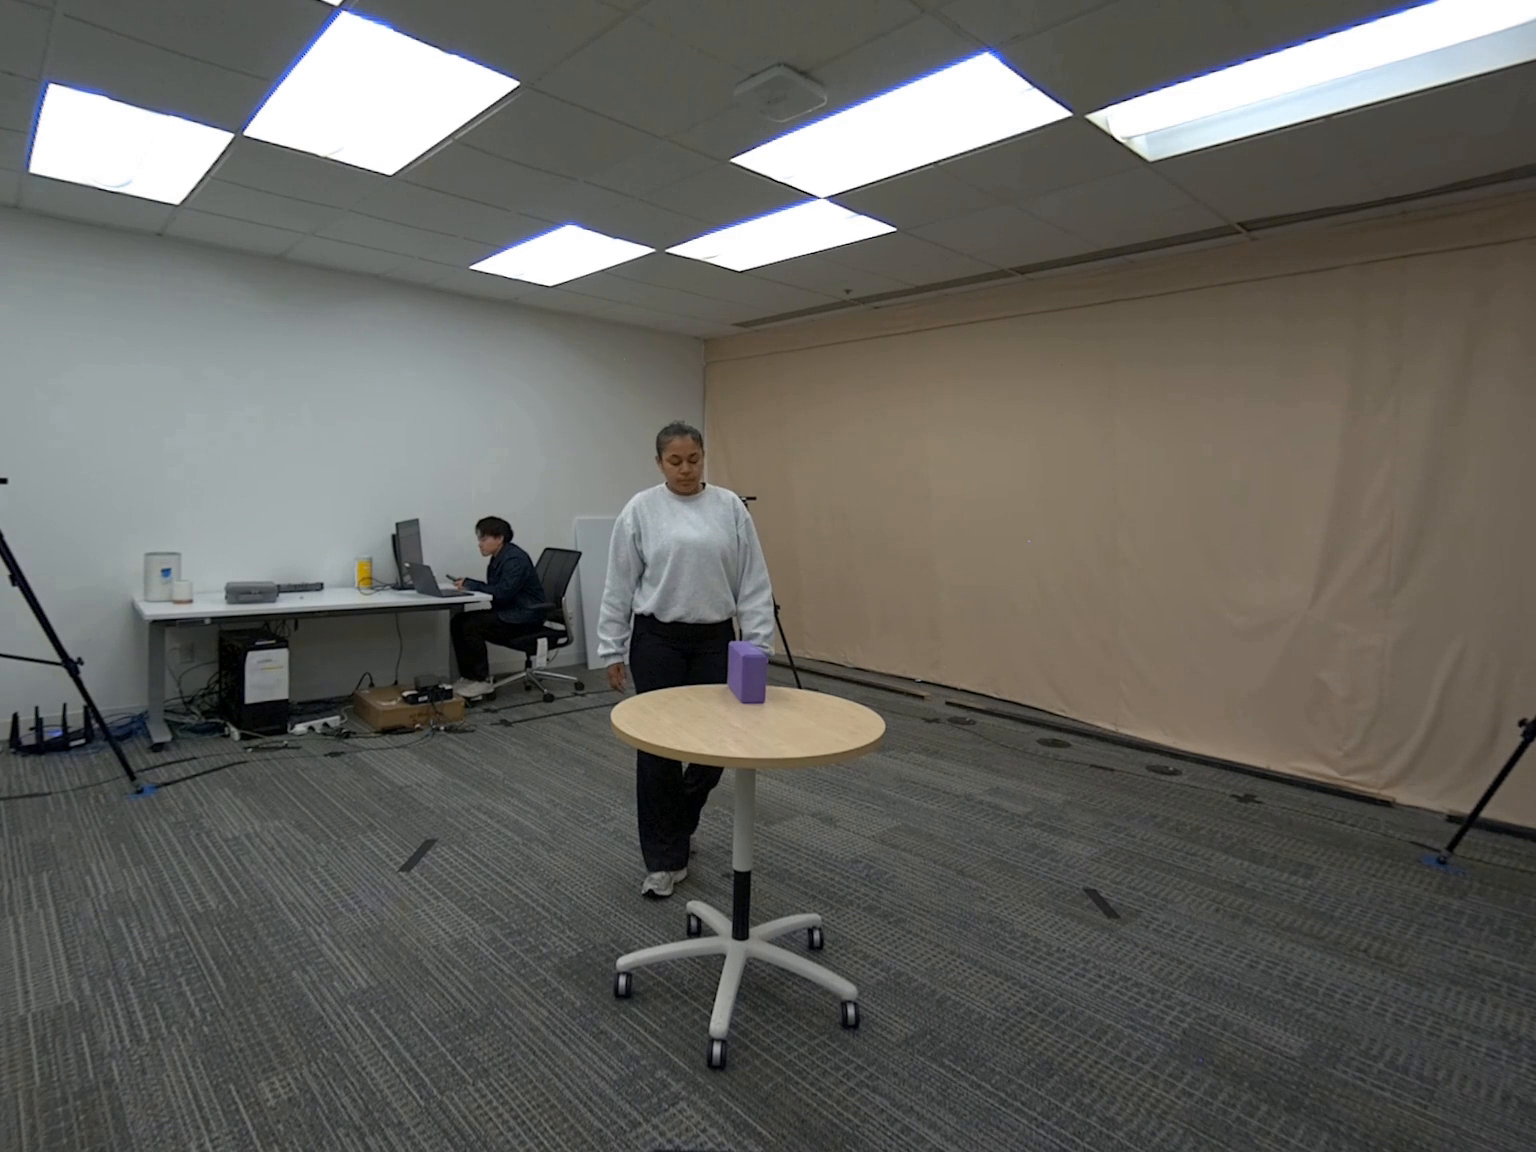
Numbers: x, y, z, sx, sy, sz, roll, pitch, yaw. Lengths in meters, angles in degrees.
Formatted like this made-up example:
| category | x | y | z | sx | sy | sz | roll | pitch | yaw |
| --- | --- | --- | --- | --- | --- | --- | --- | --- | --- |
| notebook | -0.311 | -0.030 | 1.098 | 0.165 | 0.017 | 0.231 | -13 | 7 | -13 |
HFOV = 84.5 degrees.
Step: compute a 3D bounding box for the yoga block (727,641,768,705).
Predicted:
| category | x | y | z | sx | sy | sz | roll | pitch | yaw |
| --- | --- | --- | --- | --- | --- | --- | --- | --- | --- |
| yoga block | -0.083 | 0.294 | 2.601 | 0.076 | 0.148 | 0.232 | 0 | 6 | -11 |
